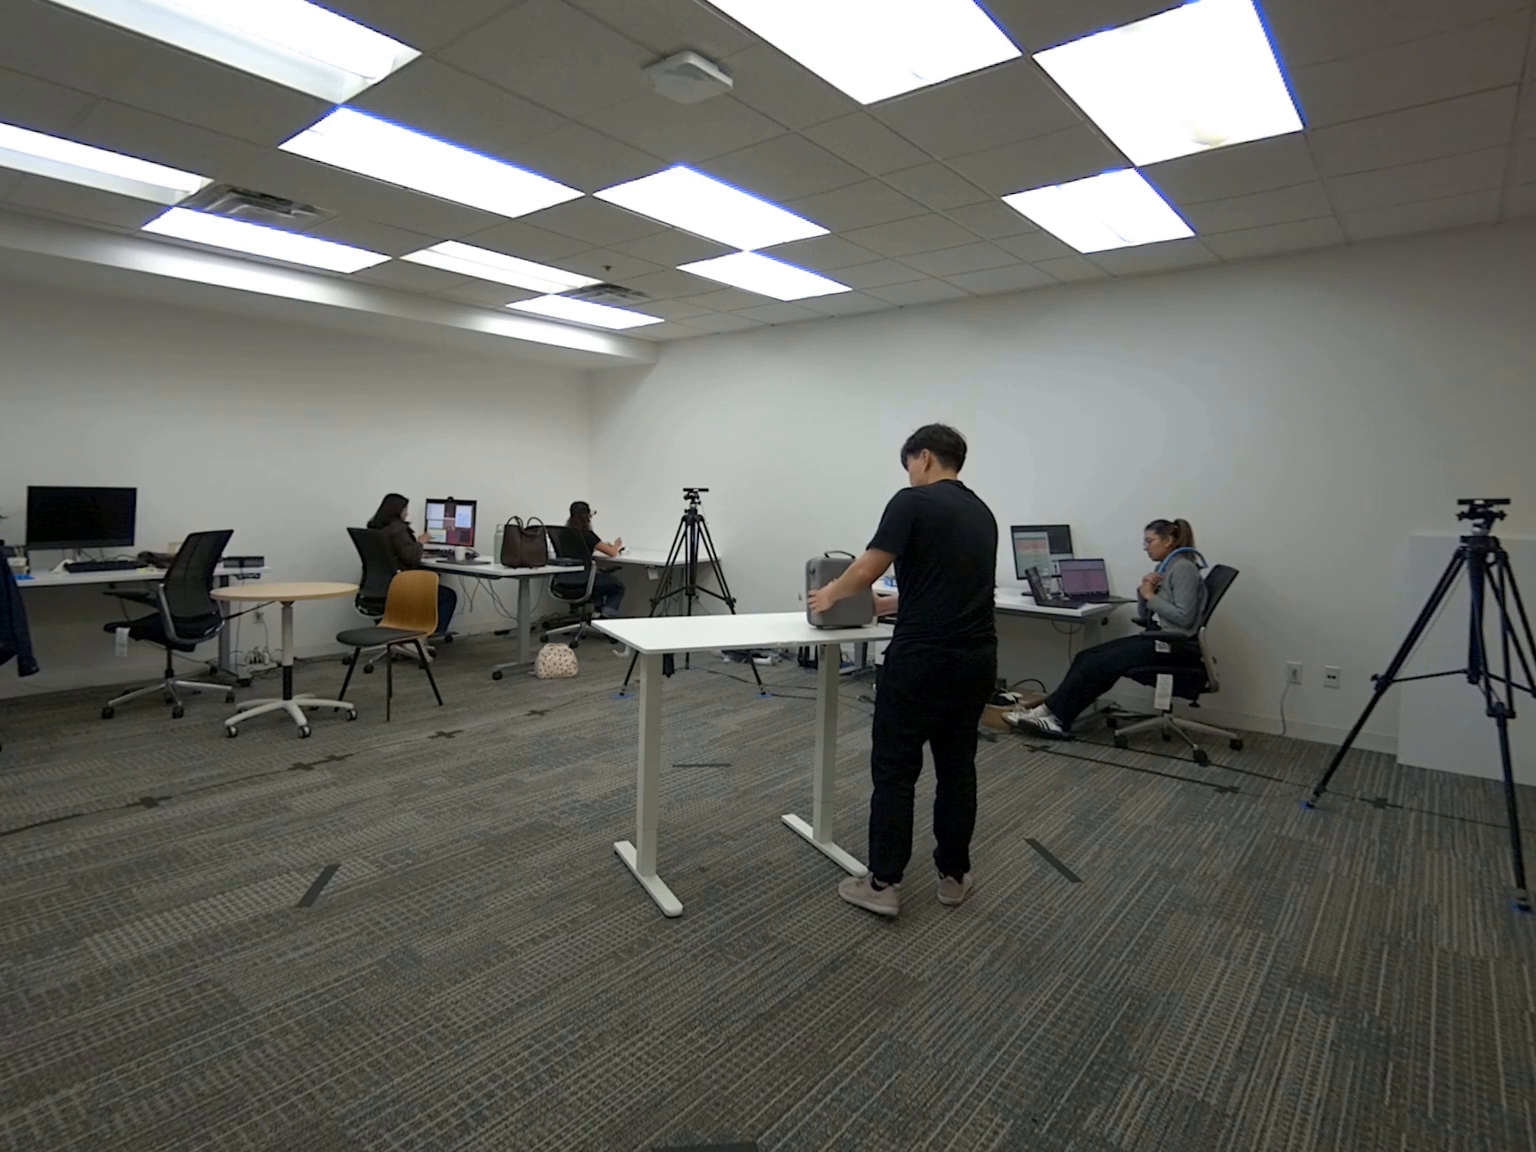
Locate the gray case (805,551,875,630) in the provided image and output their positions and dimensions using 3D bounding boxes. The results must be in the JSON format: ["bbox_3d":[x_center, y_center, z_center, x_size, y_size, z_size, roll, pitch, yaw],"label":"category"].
[{"bbox_3d":[0.268,0.056,3.202,0.251,0.261,0.106,0,-3,-25],"label":"gray case"}]
